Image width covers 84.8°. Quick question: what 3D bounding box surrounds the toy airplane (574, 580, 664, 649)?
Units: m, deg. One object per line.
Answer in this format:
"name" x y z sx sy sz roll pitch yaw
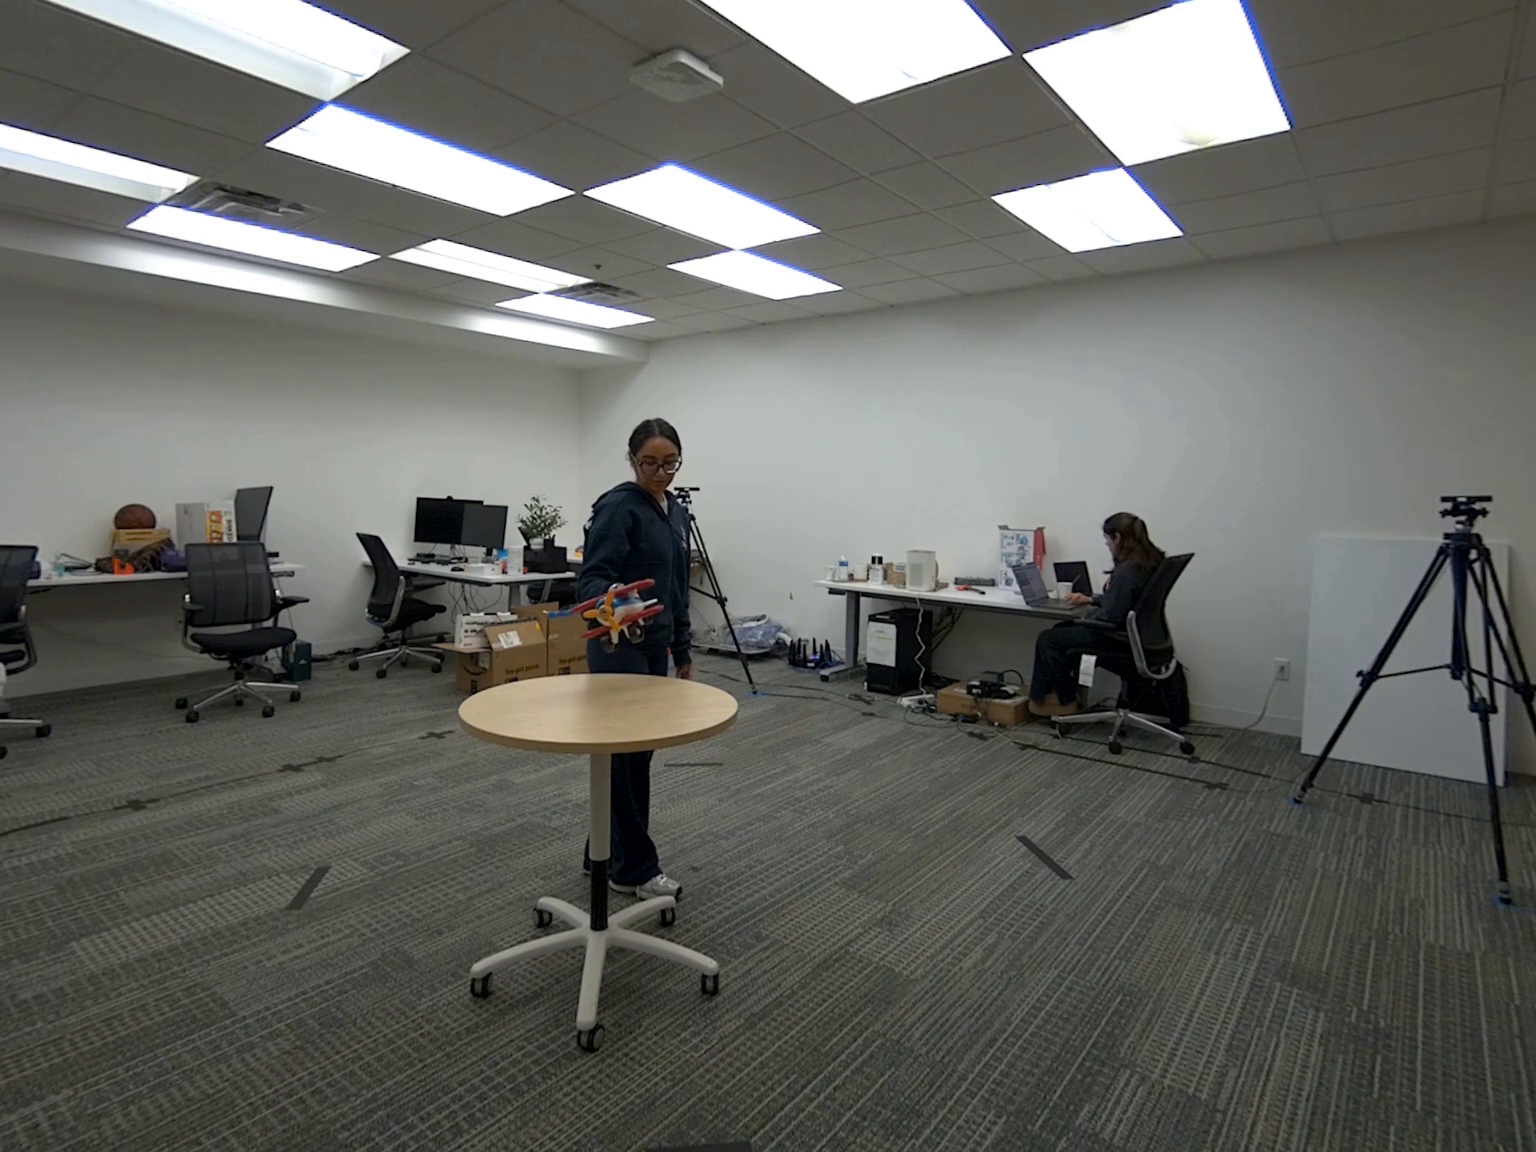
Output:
"toy airplane" -0.444 0.106 2.450 0.249 0.154 0.264 -28 11 -14
